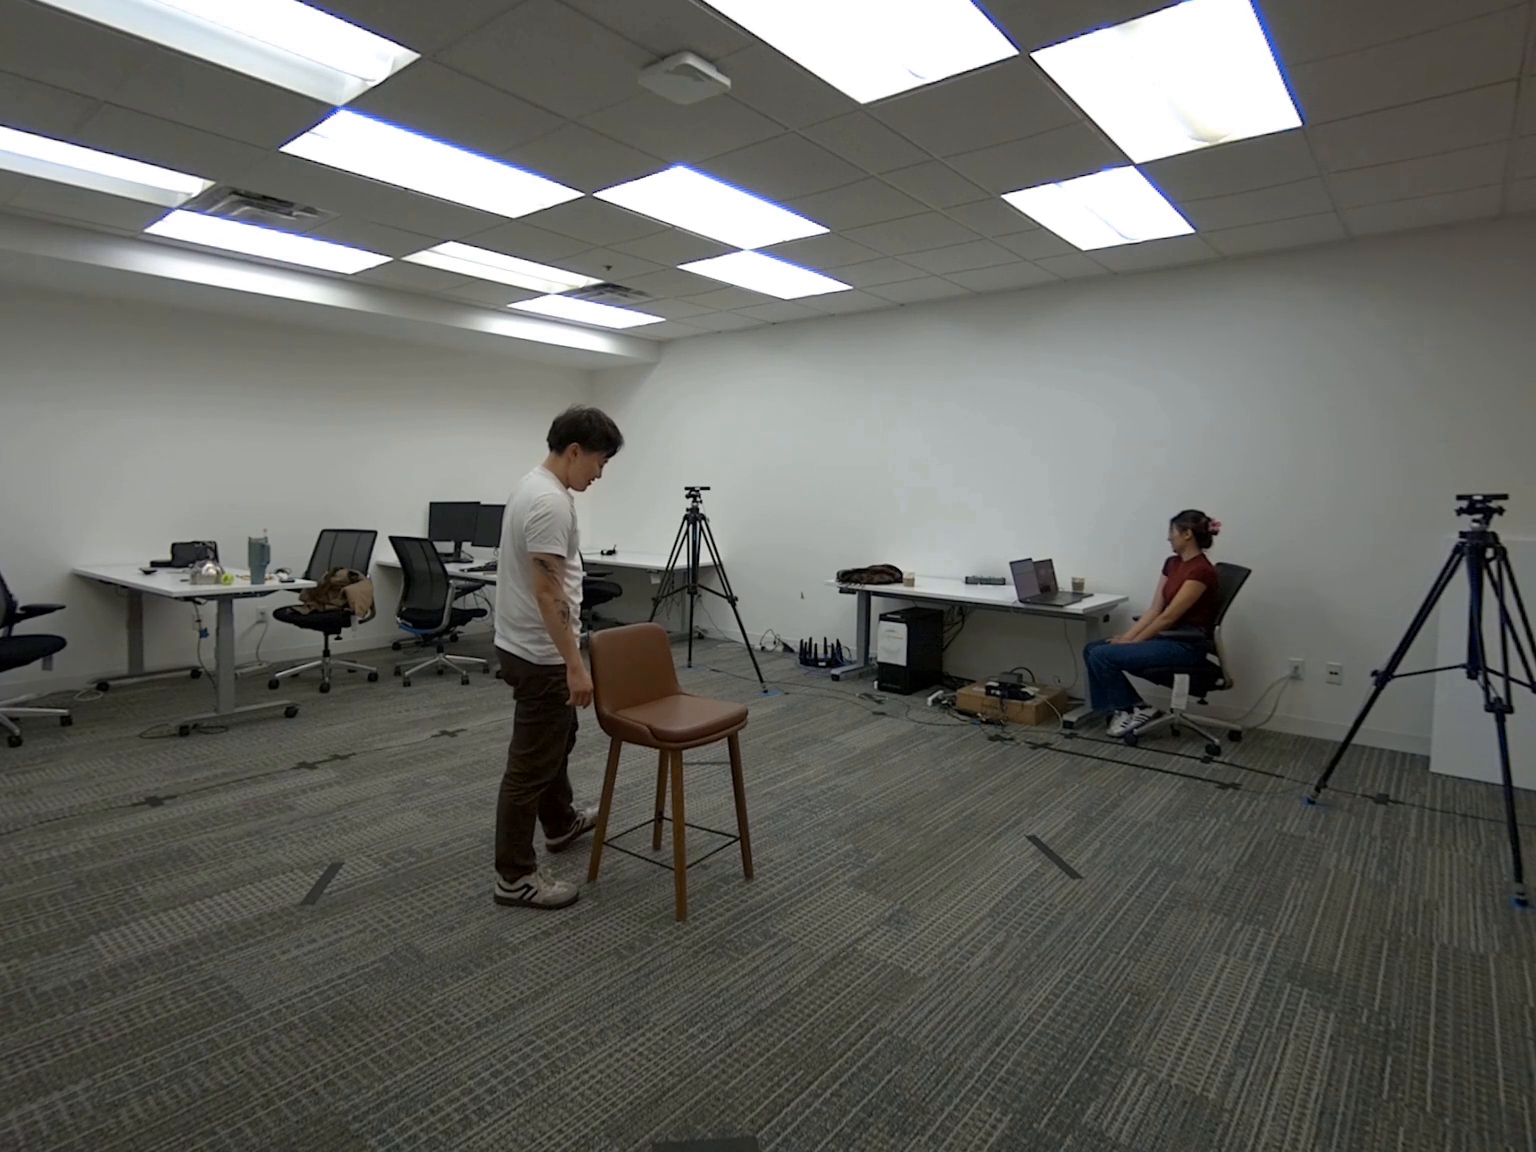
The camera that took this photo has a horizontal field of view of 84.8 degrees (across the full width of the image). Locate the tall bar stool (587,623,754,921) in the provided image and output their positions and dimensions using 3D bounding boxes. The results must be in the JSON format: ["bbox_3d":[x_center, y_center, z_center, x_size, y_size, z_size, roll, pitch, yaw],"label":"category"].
[{"bbox_3d":[-0.357,0.639,2.990,0.482,0.888,0.443,0,2,36],"label":"tall bar stool"}]
